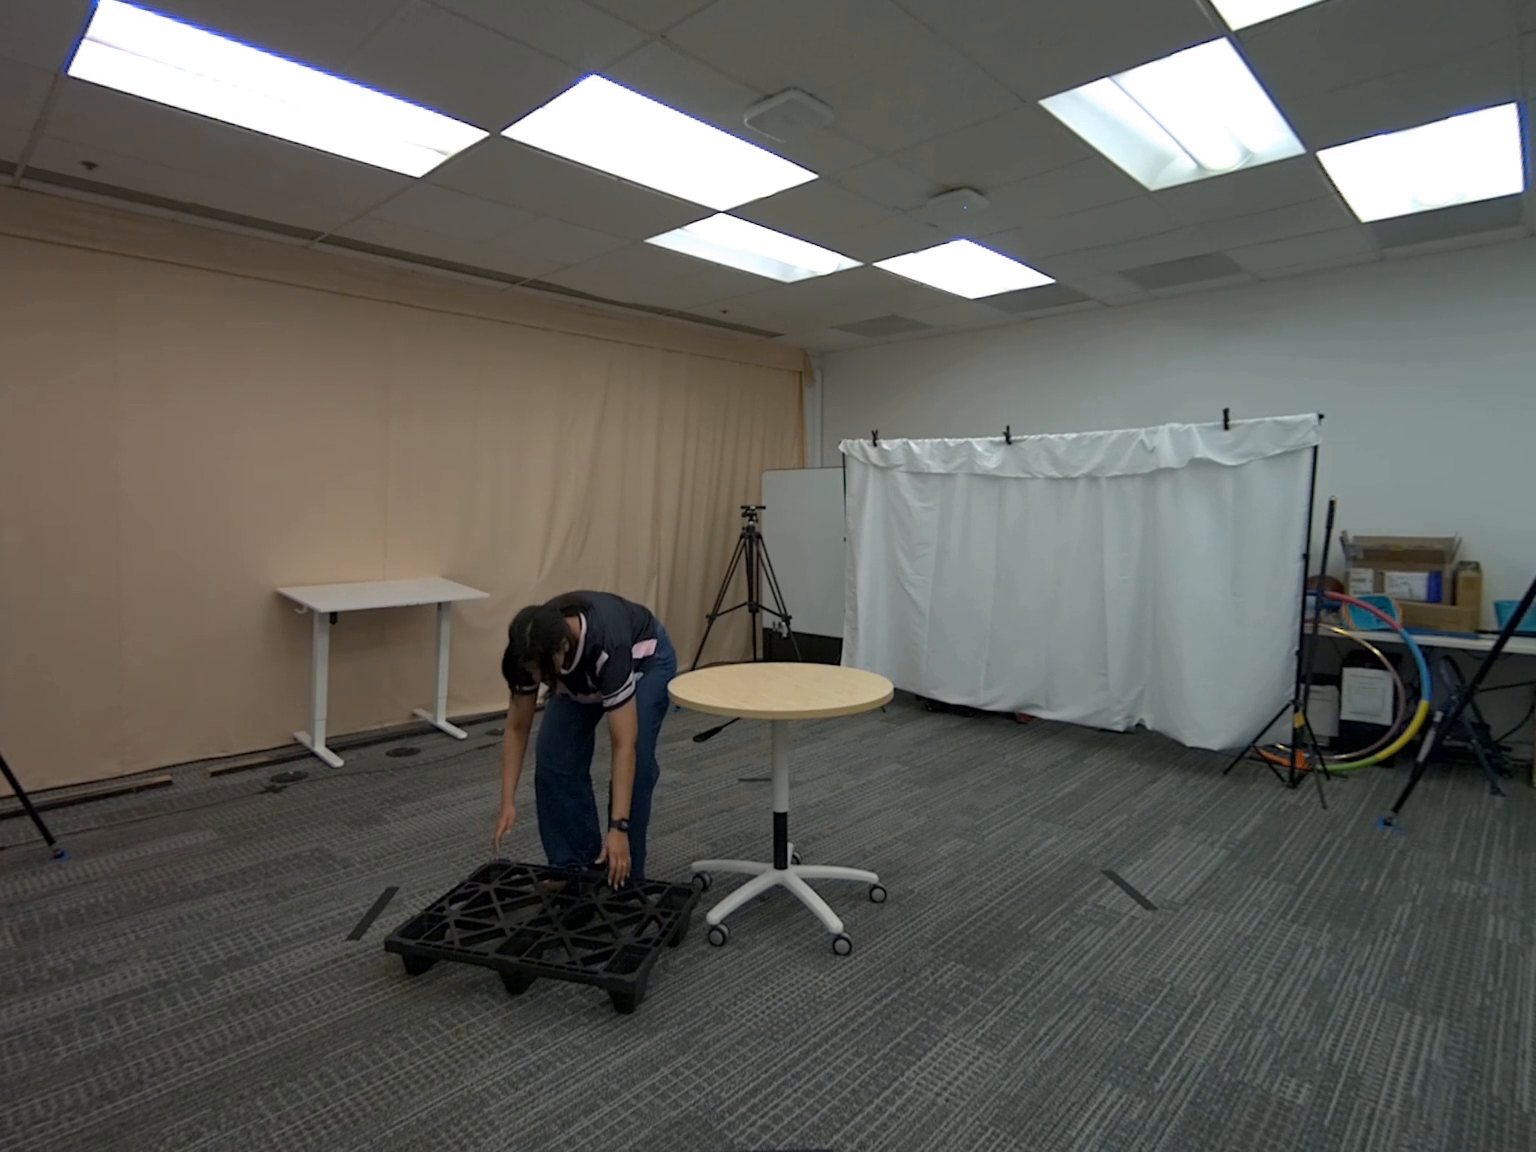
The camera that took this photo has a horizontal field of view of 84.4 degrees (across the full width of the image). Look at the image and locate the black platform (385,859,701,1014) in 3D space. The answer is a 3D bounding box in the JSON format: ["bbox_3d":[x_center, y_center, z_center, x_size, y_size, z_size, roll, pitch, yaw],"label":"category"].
[{"bbox_3d":[-0.676,1.112,2.633,0.820,0.143,0.596,1,4,15],"label":"black platform"}]
